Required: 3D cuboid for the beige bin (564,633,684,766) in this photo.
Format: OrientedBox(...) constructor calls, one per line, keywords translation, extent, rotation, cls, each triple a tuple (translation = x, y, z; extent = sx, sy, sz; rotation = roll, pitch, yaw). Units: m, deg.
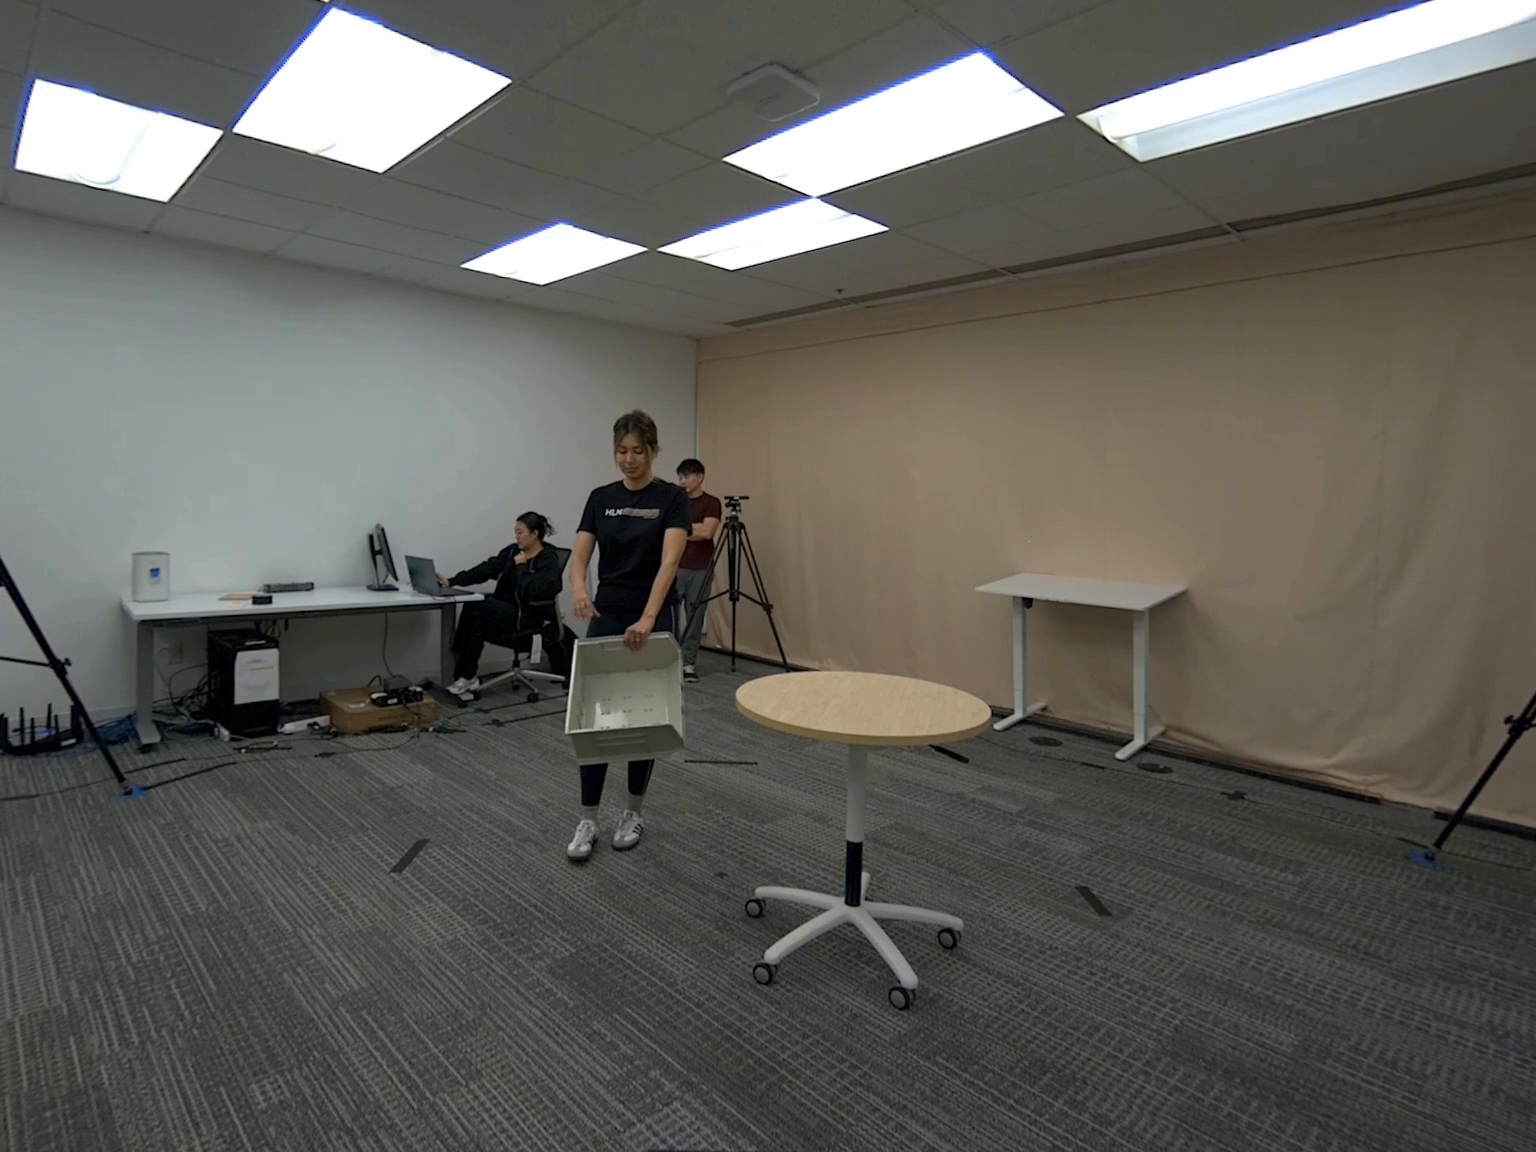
OrientedBox(translation=(-0.499, 0.418, 2.933), extent=(0.377, 0.184, 0.433), rotation=(-5, 42, -2), cls="beige bin")
